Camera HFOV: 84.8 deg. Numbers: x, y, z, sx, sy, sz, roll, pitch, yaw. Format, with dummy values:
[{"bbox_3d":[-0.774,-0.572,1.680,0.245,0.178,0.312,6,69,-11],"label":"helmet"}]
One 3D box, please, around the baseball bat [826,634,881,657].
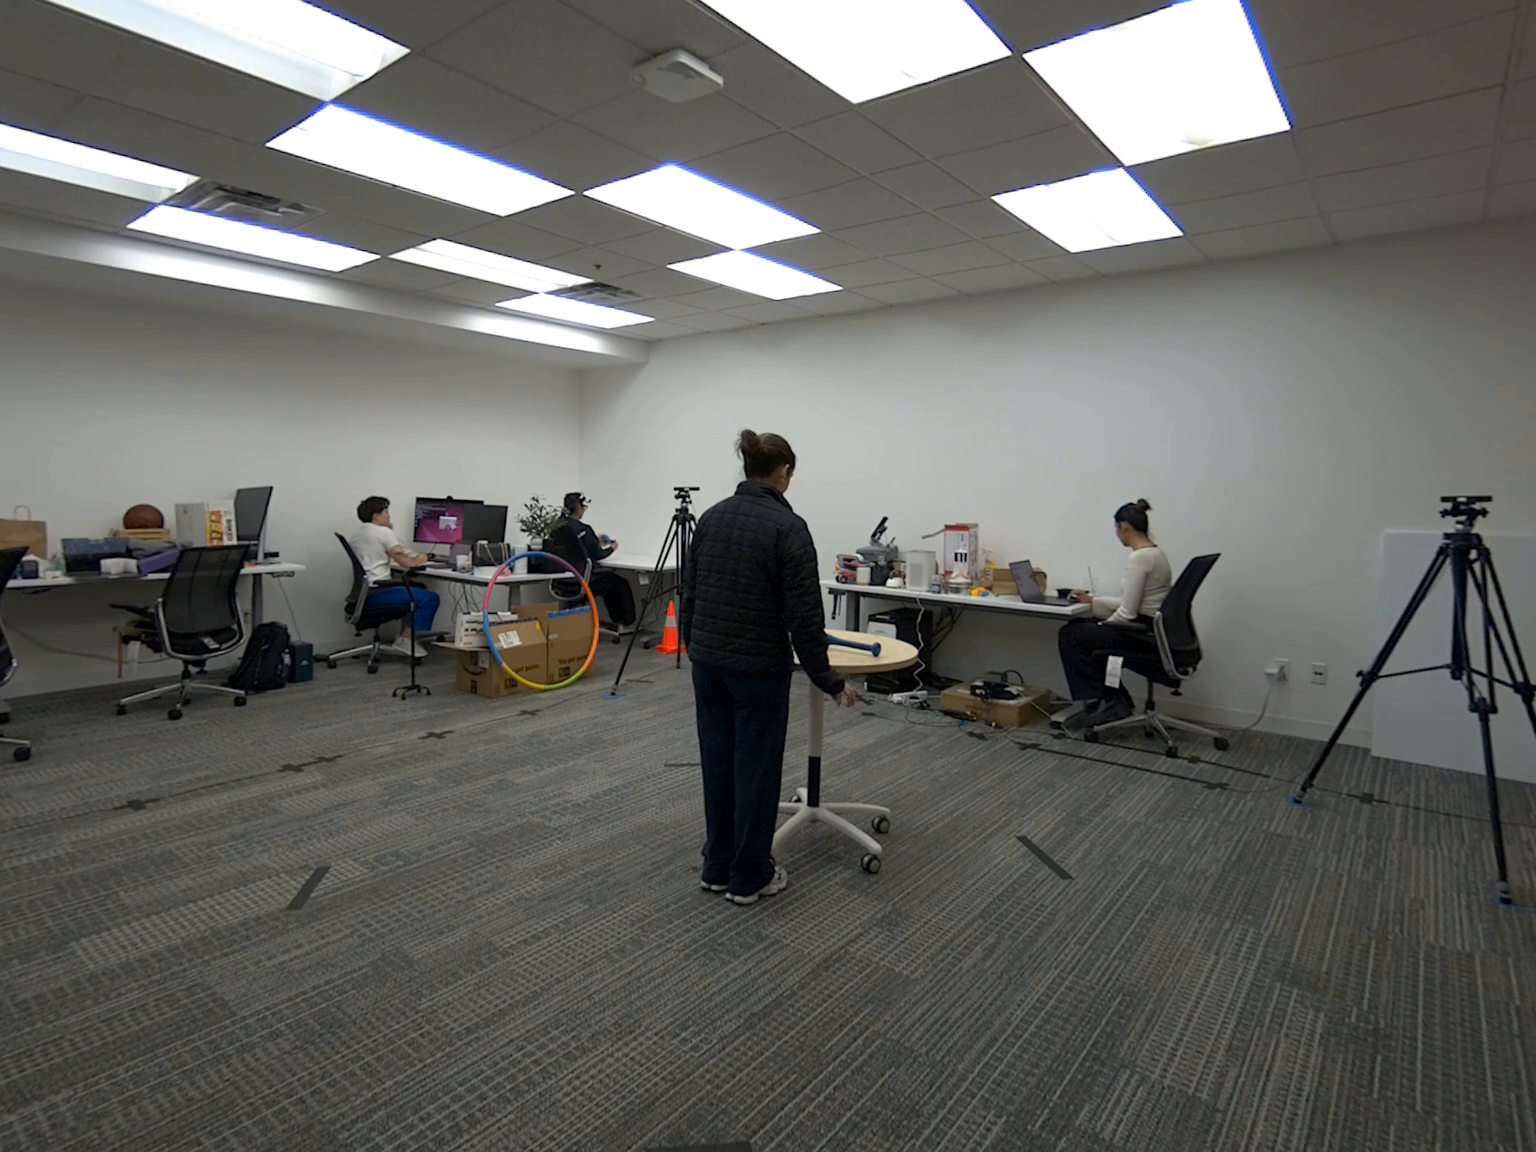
[{"bbox_3d":[0.207,0.232,3.300,0.562,0.088,0.086,9,8,37],"label":"baseball bat"}]
